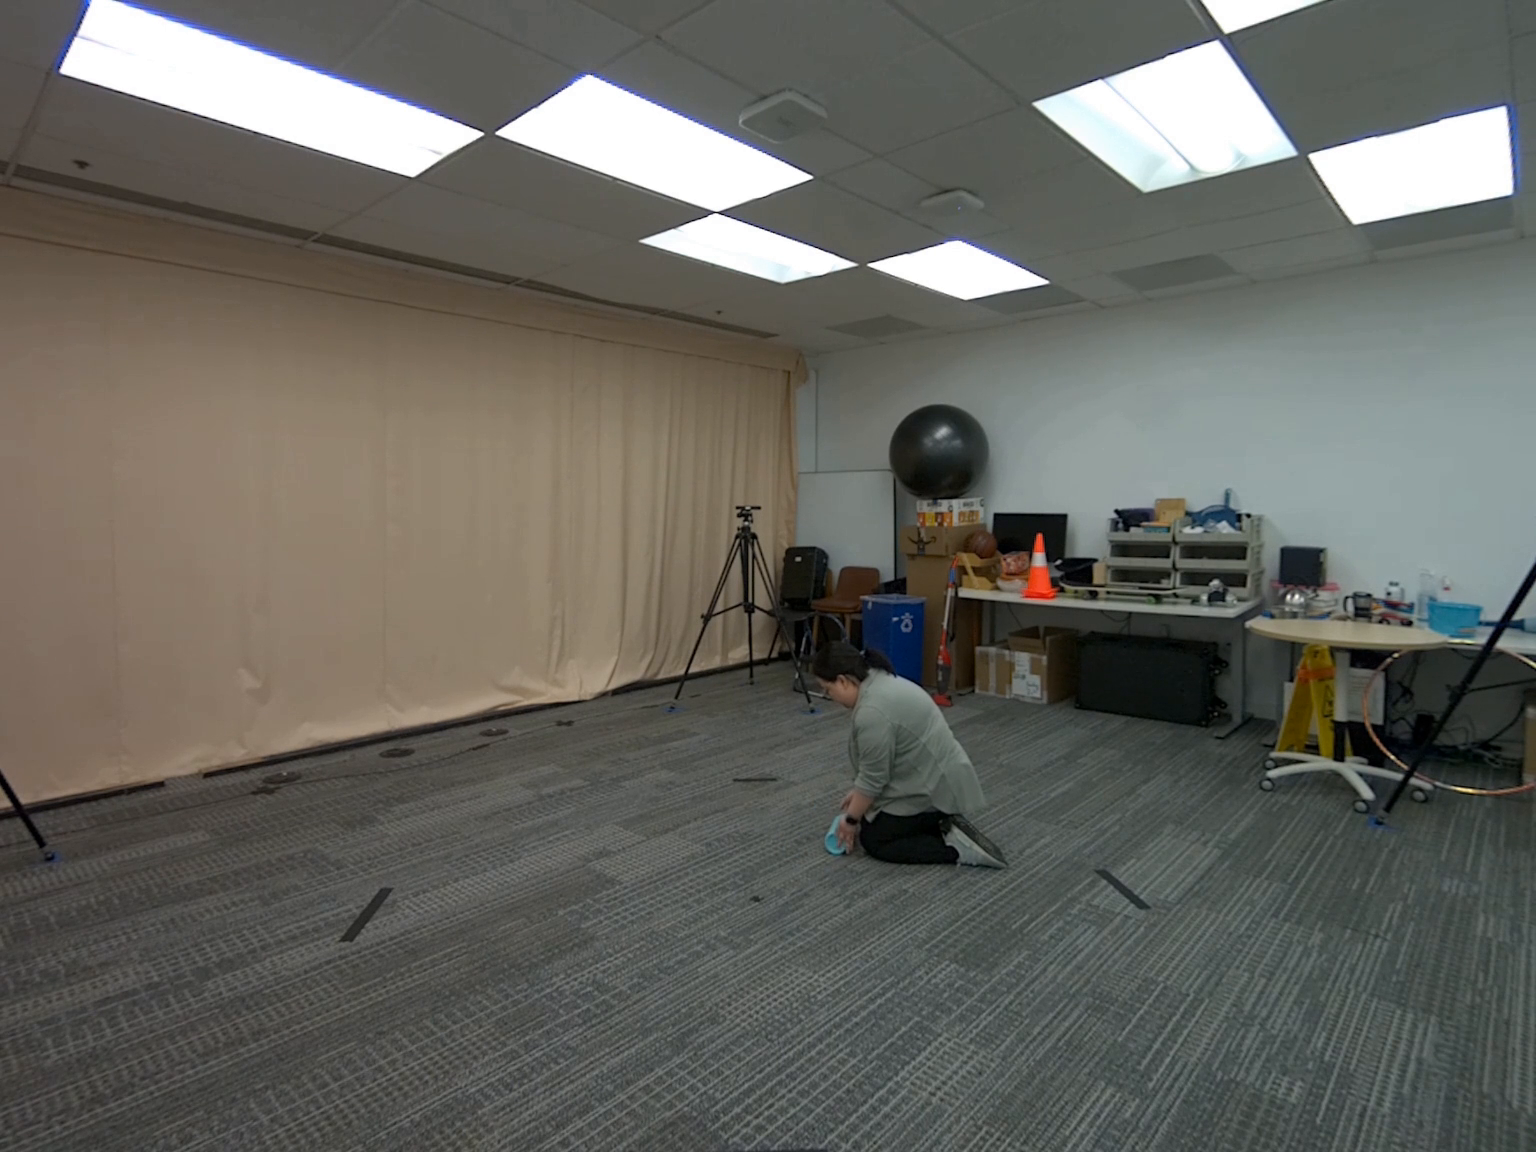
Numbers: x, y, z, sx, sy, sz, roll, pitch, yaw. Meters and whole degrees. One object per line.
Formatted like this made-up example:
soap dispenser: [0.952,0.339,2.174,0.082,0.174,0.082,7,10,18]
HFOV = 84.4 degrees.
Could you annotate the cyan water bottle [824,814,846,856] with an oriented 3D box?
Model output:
cyan water bottle: [0.308,1.062,3.494,0.094,0.092,0.279,1,4,13]
